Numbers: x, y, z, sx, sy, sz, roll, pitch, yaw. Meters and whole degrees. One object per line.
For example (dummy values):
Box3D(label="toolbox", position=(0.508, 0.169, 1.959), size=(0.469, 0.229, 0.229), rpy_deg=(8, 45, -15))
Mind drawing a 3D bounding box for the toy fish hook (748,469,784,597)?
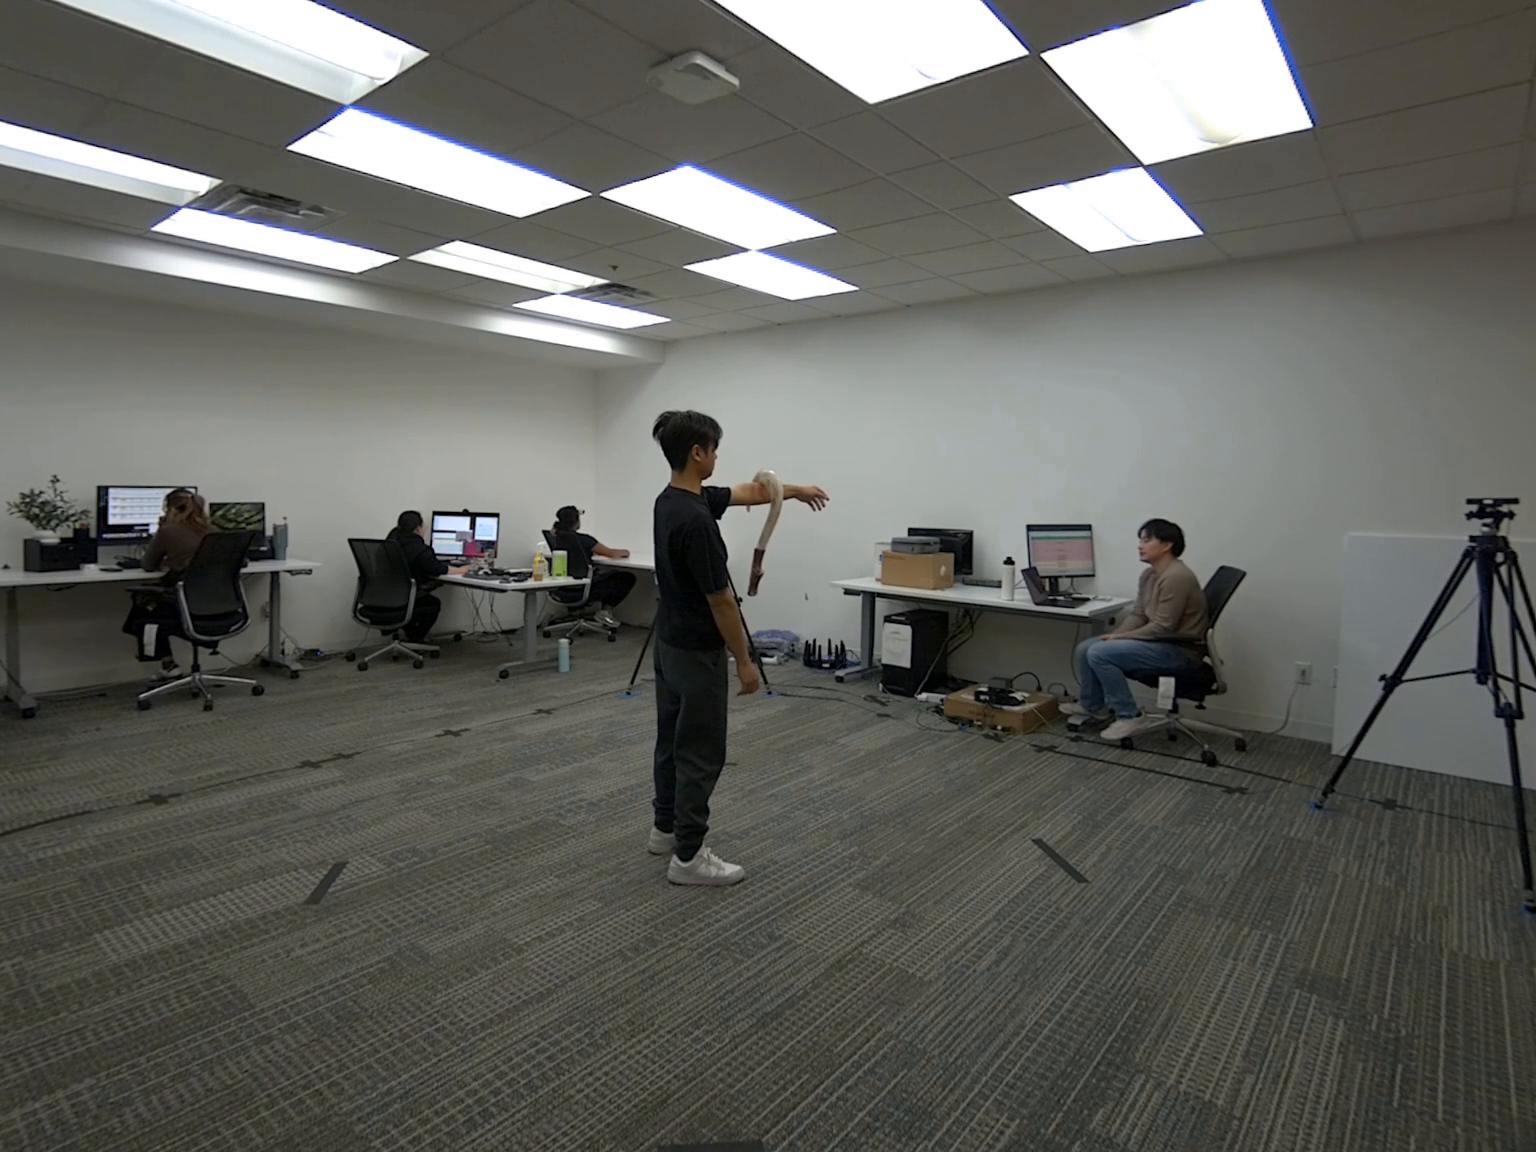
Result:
Box3D(label="toy fish hook", position=(-0.055, -0.178, 3.393), size=(0.047, 0.501, 0.234), rpy_deg=(3, 16, -33))
